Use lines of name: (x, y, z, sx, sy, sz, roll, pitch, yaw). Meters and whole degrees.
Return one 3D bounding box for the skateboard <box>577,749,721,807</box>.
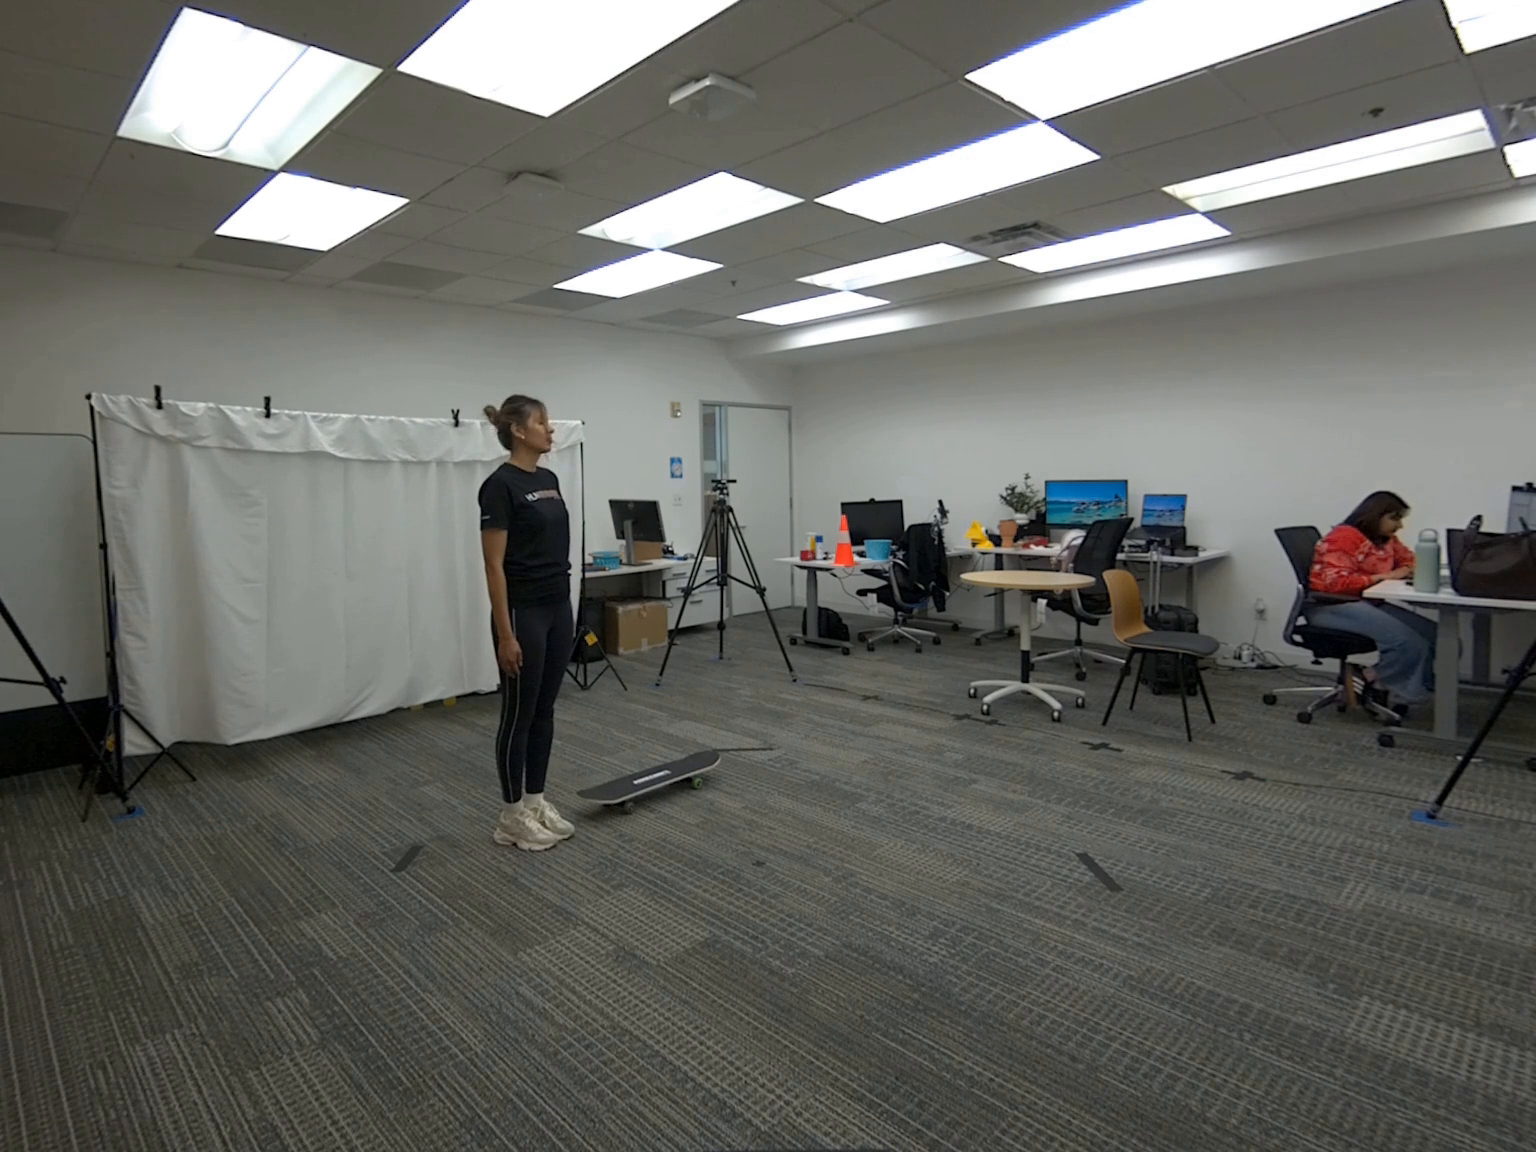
skateboard: (-0.511, 0.923, 3.802, 0.199, 0.110, 0.765, 4, 8, 43)
